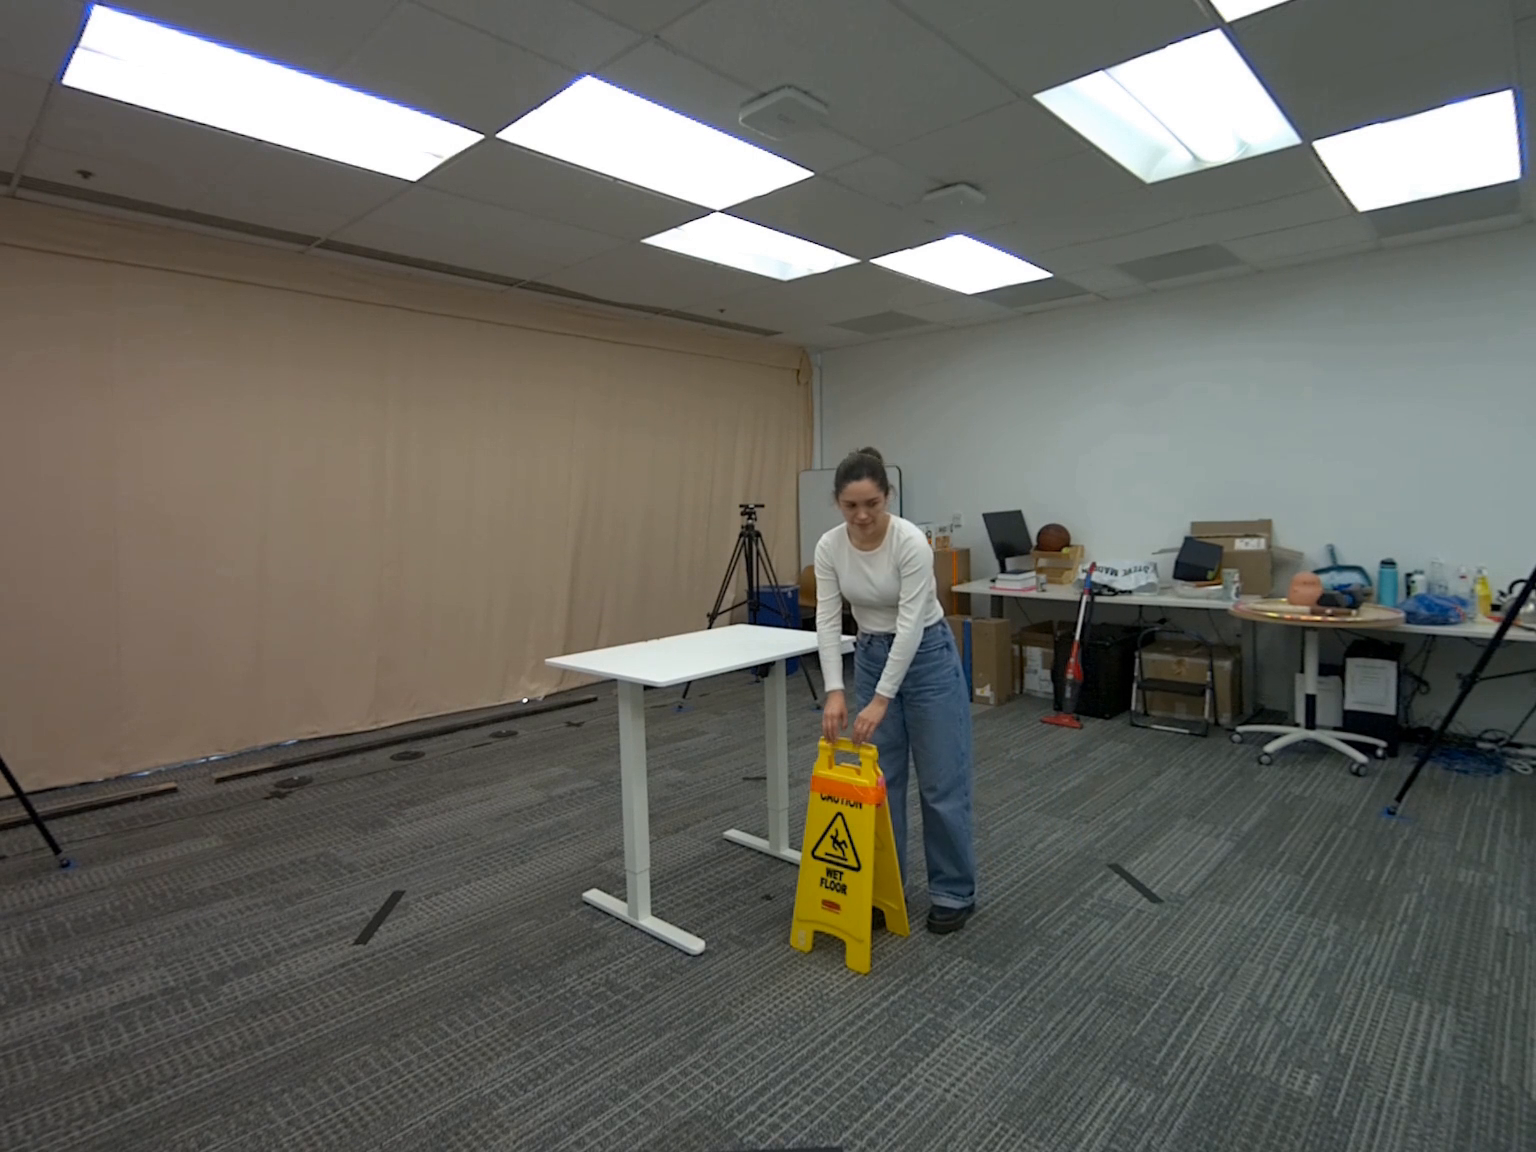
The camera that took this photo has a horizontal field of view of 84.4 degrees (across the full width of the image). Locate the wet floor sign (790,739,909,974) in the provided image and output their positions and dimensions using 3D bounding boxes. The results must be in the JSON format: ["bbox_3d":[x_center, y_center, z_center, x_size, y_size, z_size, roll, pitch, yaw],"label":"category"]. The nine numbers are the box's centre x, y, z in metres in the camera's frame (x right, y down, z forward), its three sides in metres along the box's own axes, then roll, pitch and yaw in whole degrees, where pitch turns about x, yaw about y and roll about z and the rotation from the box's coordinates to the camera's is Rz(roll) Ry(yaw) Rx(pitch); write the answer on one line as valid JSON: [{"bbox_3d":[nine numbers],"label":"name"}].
[{"bbox_3d":[0.266,0.839,2.663,0.291,0.645,0.281,1,3,38],"label":"wet floor sign"}]
